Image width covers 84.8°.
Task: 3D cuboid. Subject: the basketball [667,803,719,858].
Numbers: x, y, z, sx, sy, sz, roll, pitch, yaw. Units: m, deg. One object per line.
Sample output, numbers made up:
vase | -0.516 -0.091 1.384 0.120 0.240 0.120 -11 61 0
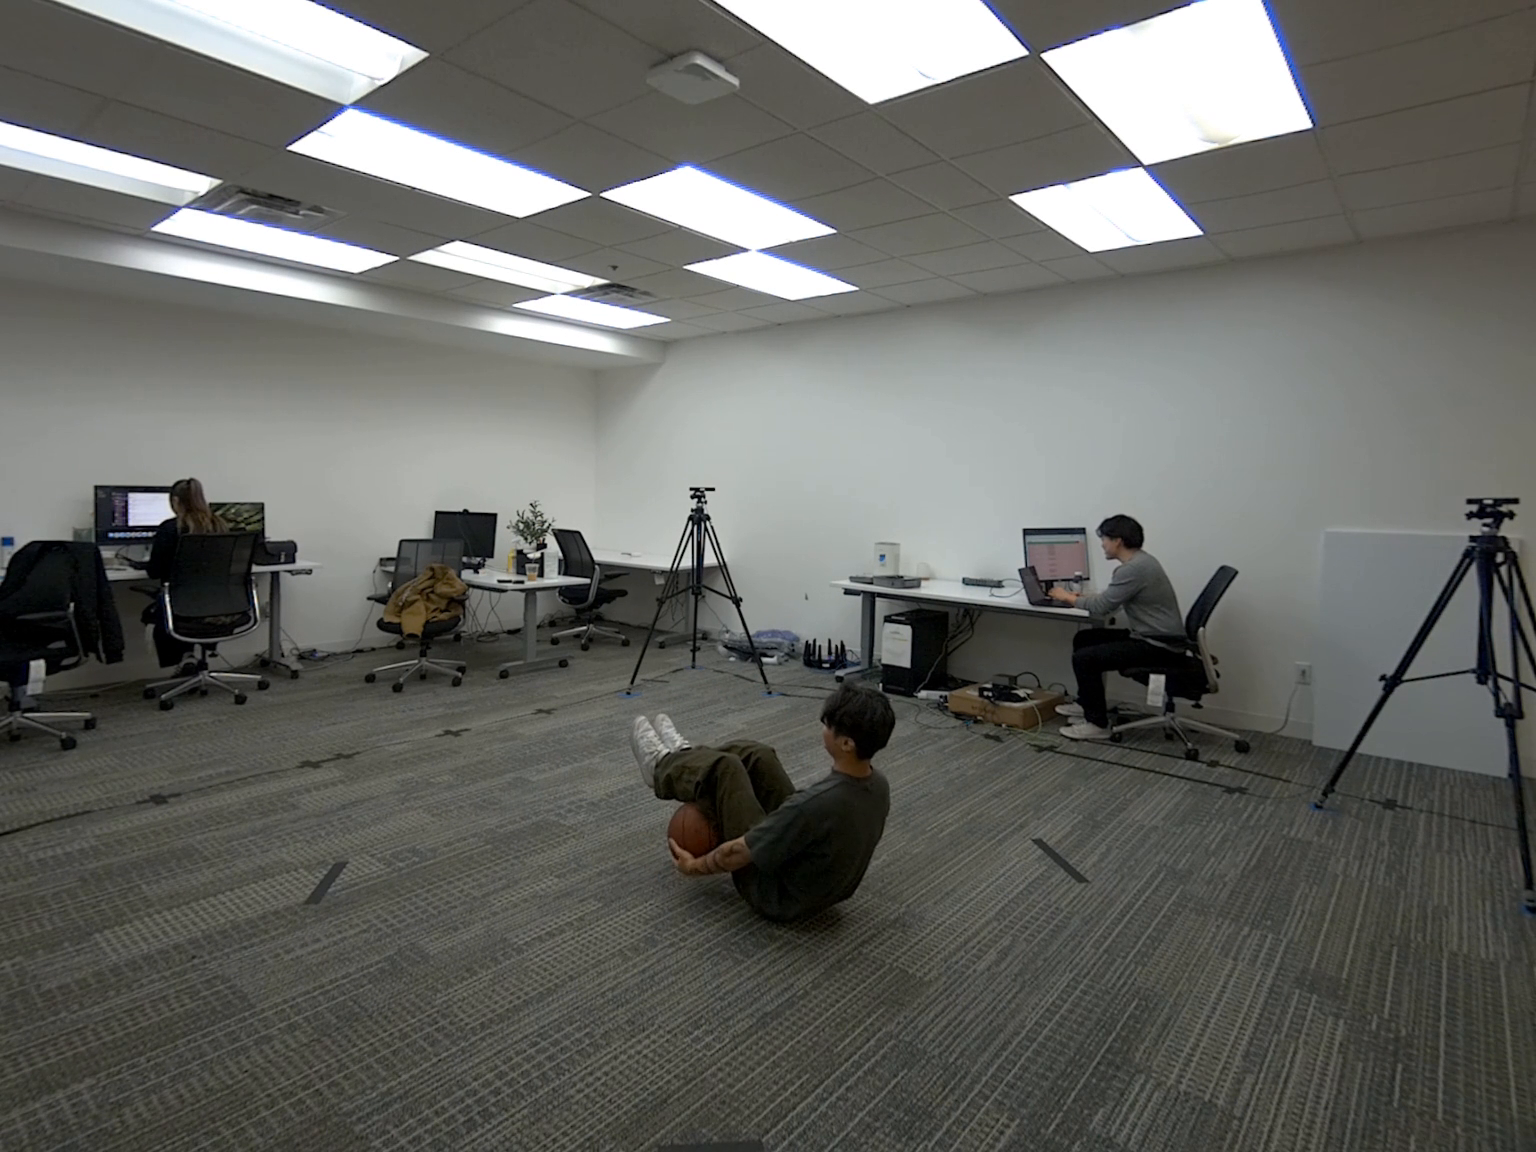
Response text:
basketball | -0.238 0.890 2.979 0.235 0.235 0.237 1 4 -2
